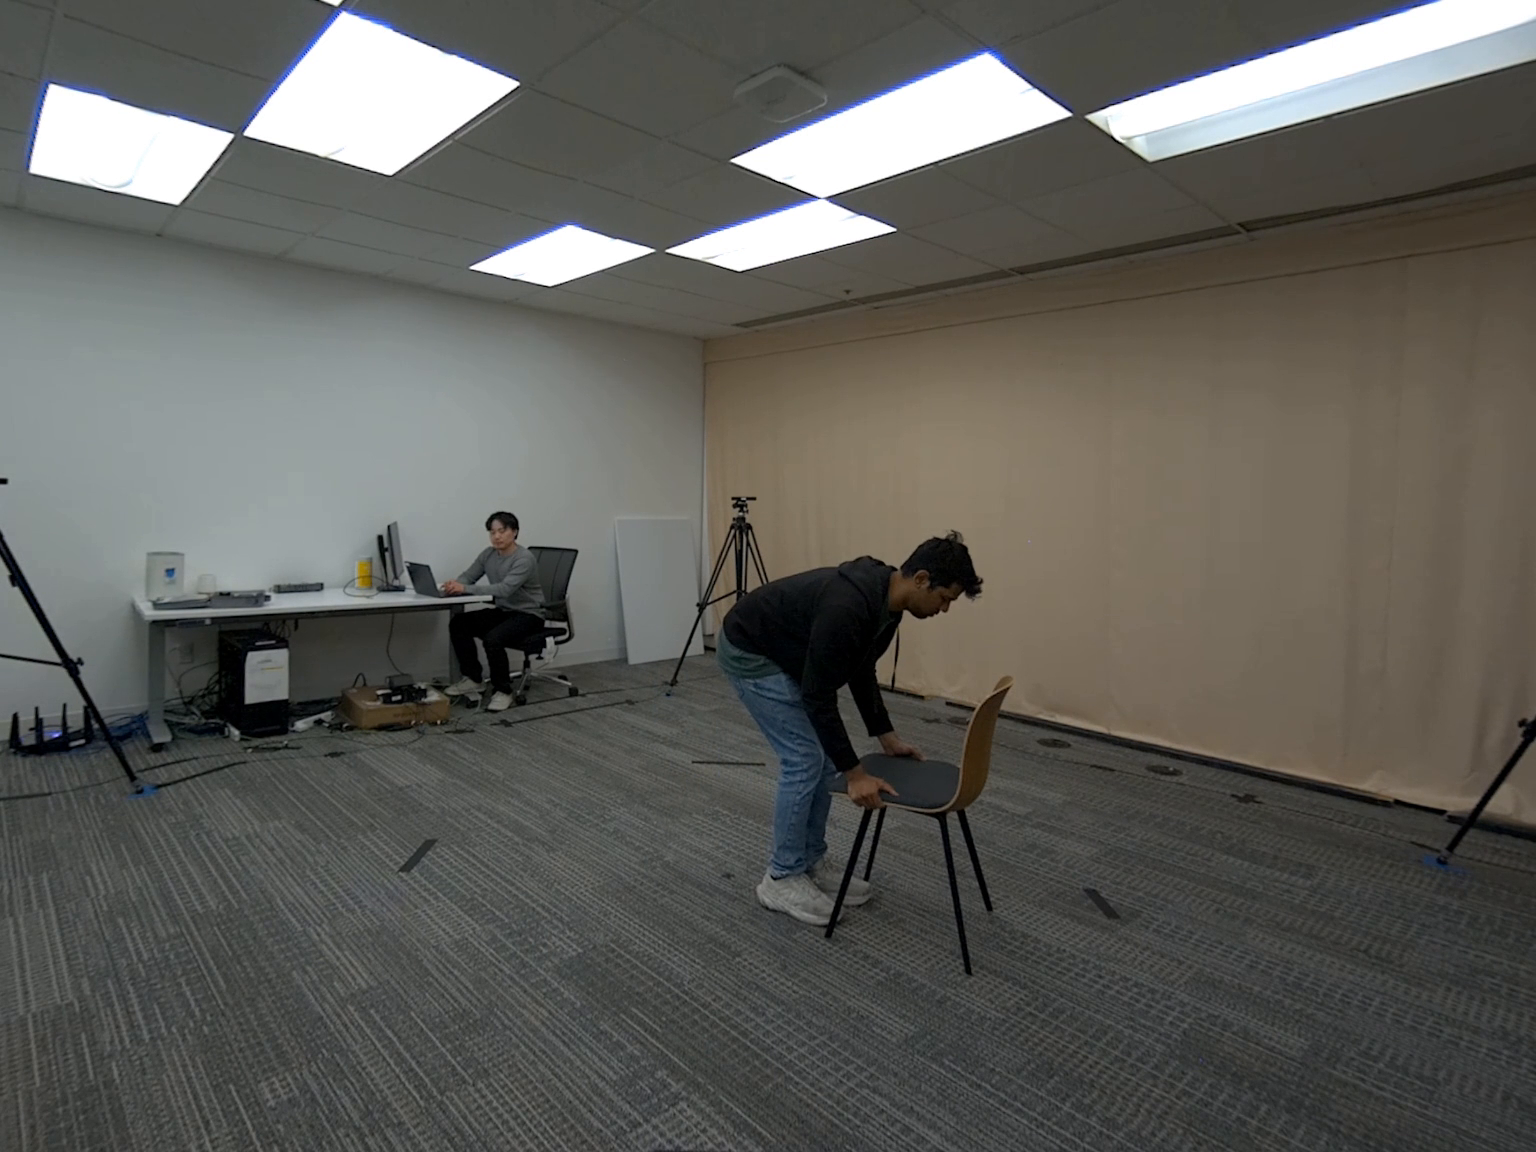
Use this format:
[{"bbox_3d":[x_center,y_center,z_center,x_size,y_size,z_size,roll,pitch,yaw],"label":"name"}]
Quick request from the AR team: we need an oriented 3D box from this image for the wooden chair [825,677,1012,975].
[{"bbox_3d":[0.475,0.719,2.754,0.534,0.874,0.470,8,6,24],"label":"wooden chair"}]
